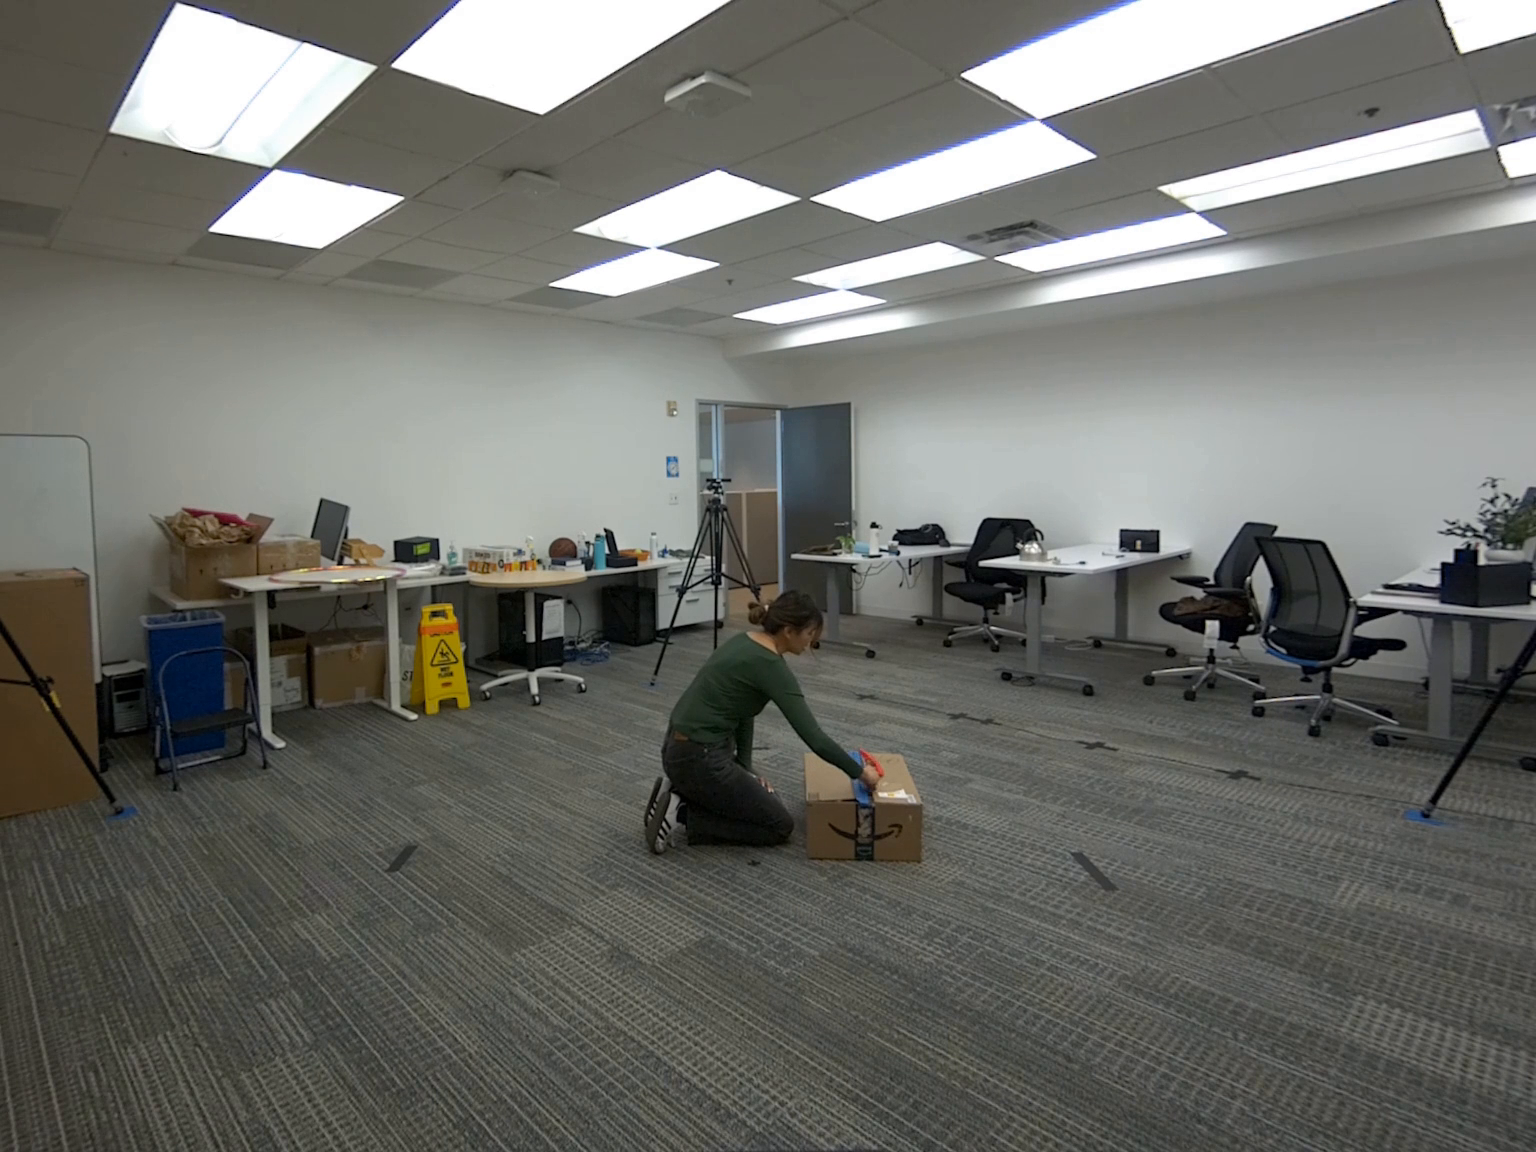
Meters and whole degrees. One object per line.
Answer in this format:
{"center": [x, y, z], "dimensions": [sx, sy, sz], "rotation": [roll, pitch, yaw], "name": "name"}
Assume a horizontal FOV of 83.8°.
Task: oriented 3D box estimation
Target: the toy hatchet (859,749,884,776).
{"center": [0.409, 0.762, 3.296], "dimensions": [0.129, 0.029, 0.273], "rotation": [41, 12, -11], "name": "toy hatchet"}
